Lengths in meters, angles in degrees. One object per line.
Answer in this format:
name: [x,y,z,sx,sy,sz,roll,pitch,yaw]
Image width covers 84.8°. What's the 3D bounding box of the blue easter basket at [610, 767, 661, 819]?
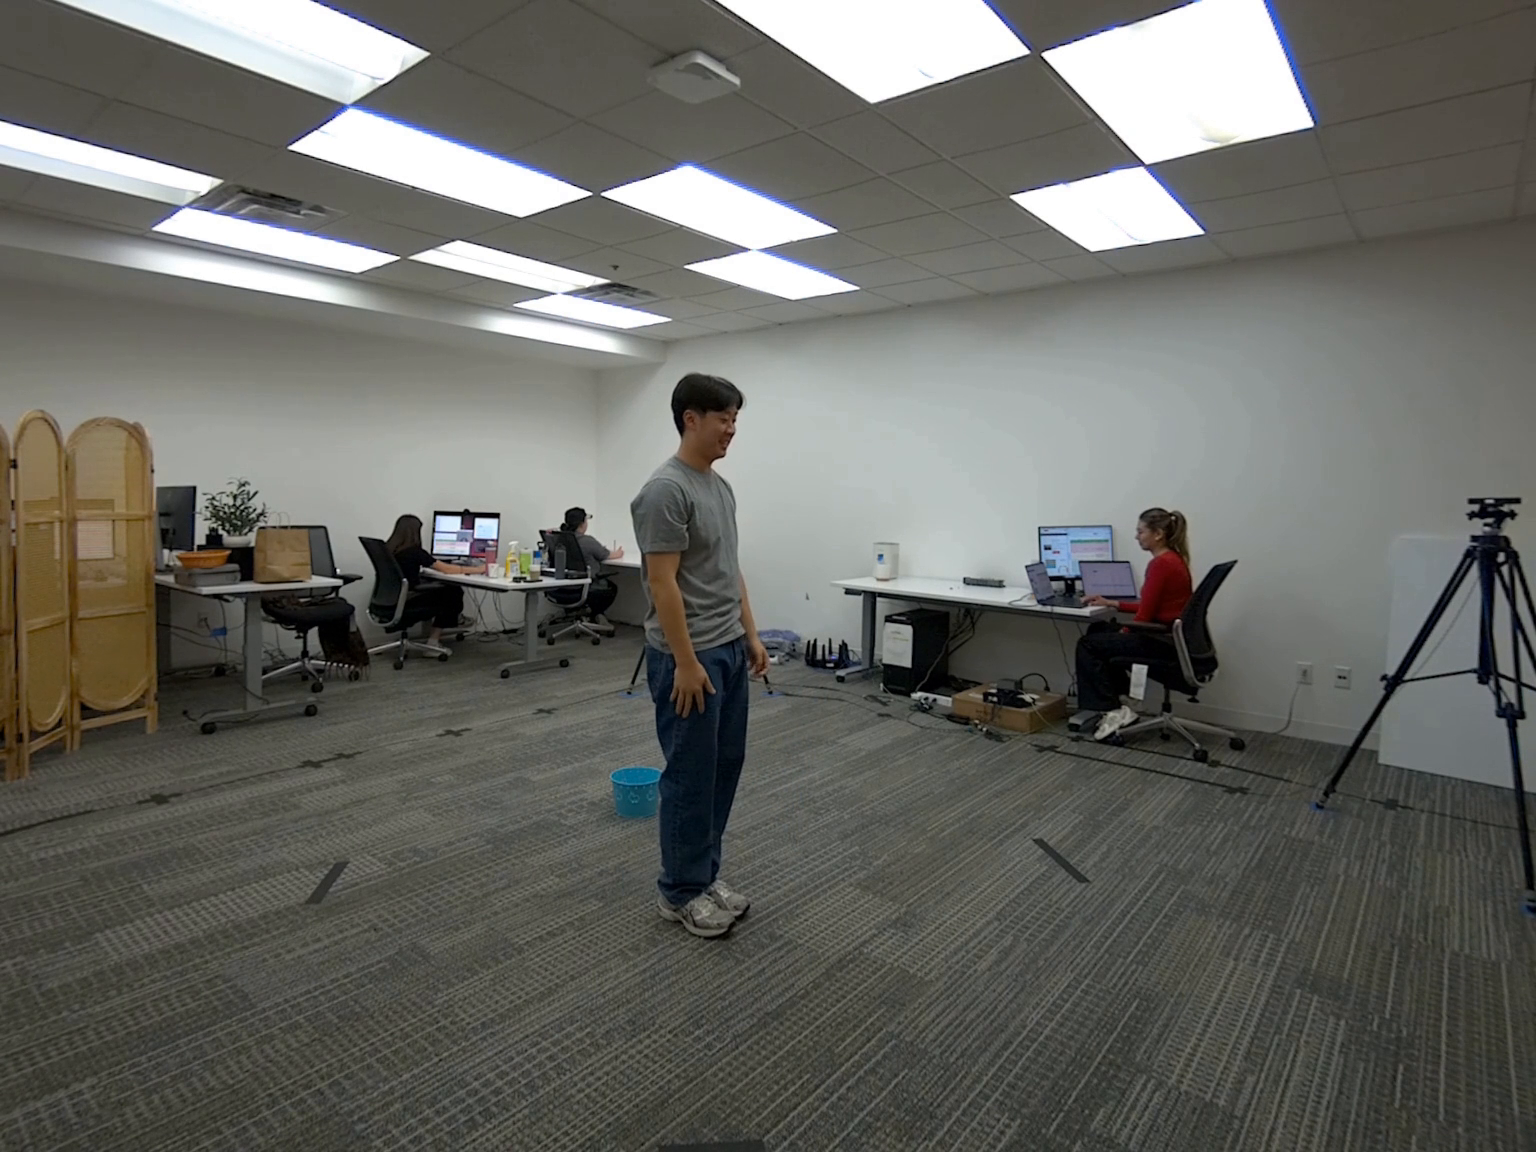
blue easter basket: [-0.577,0.929,3.667,0.243,0.155,0.245,0,5,-2]
